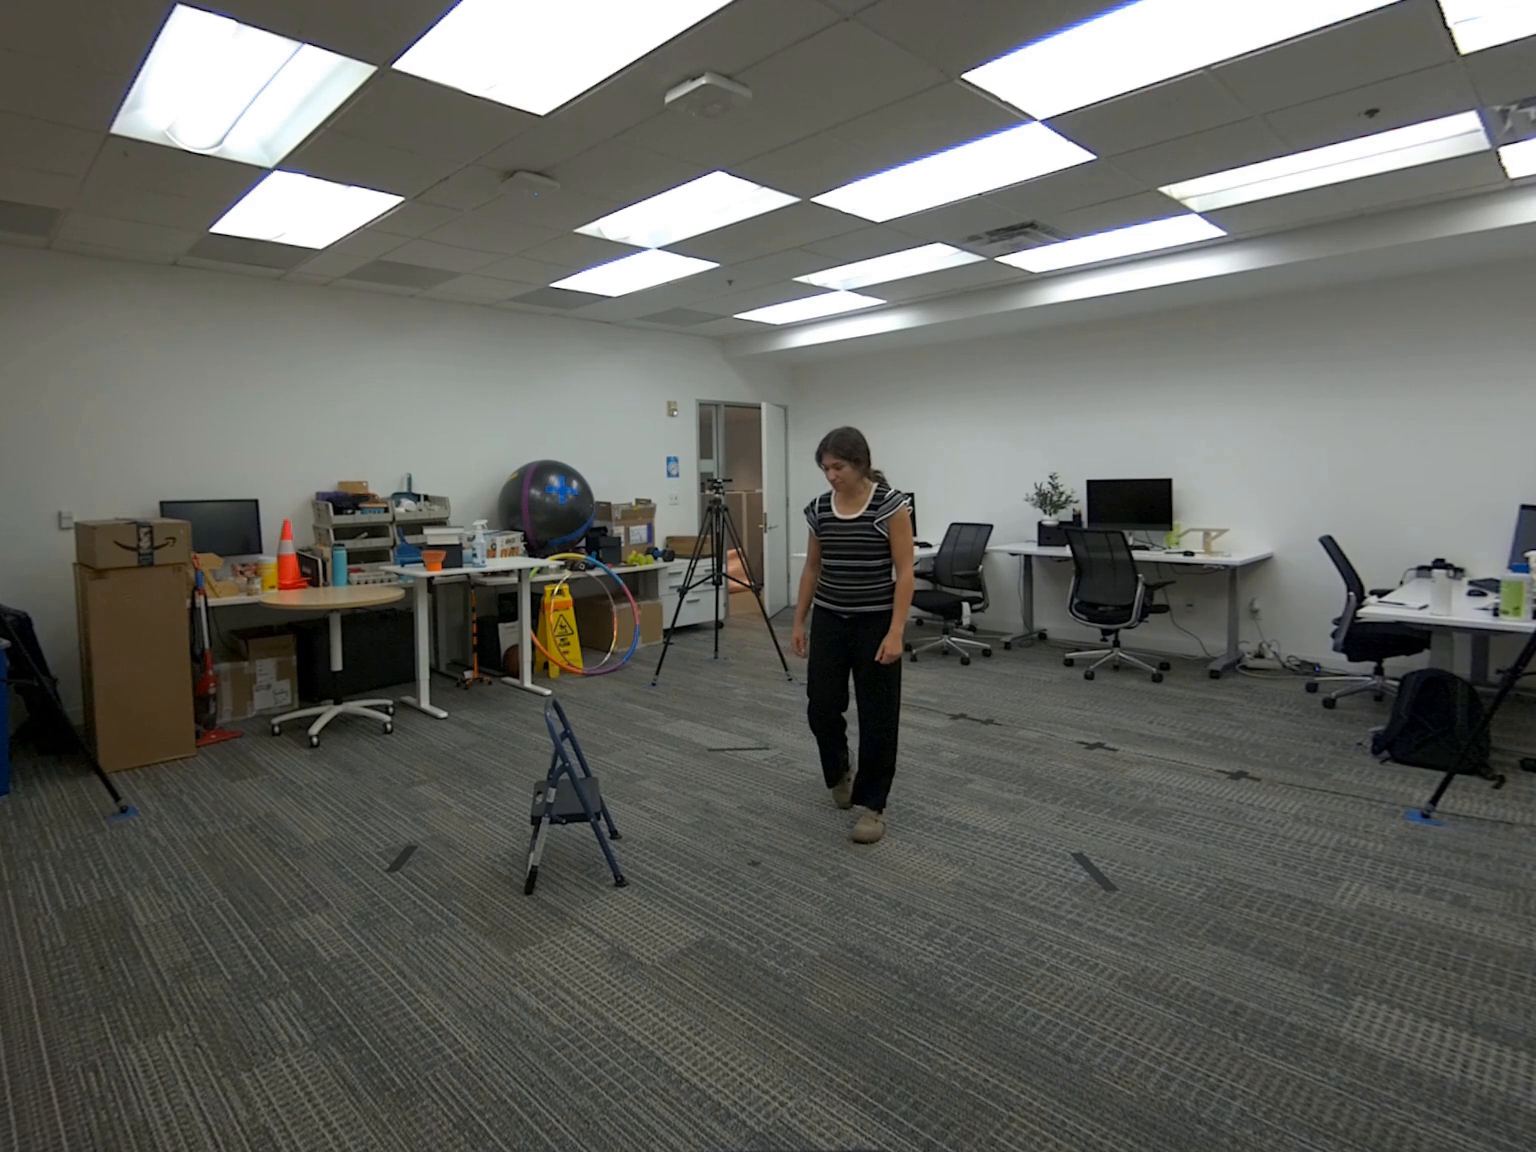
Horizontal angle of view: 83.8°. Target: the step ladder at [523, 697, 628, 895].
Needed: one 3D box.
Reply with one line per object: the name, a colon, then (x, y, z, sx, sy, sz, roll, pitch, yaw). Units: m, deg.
step ladder: (-0.710, 0.757, 3.110, 0.346, 0.604, 0.437, -2, 4, -12)
